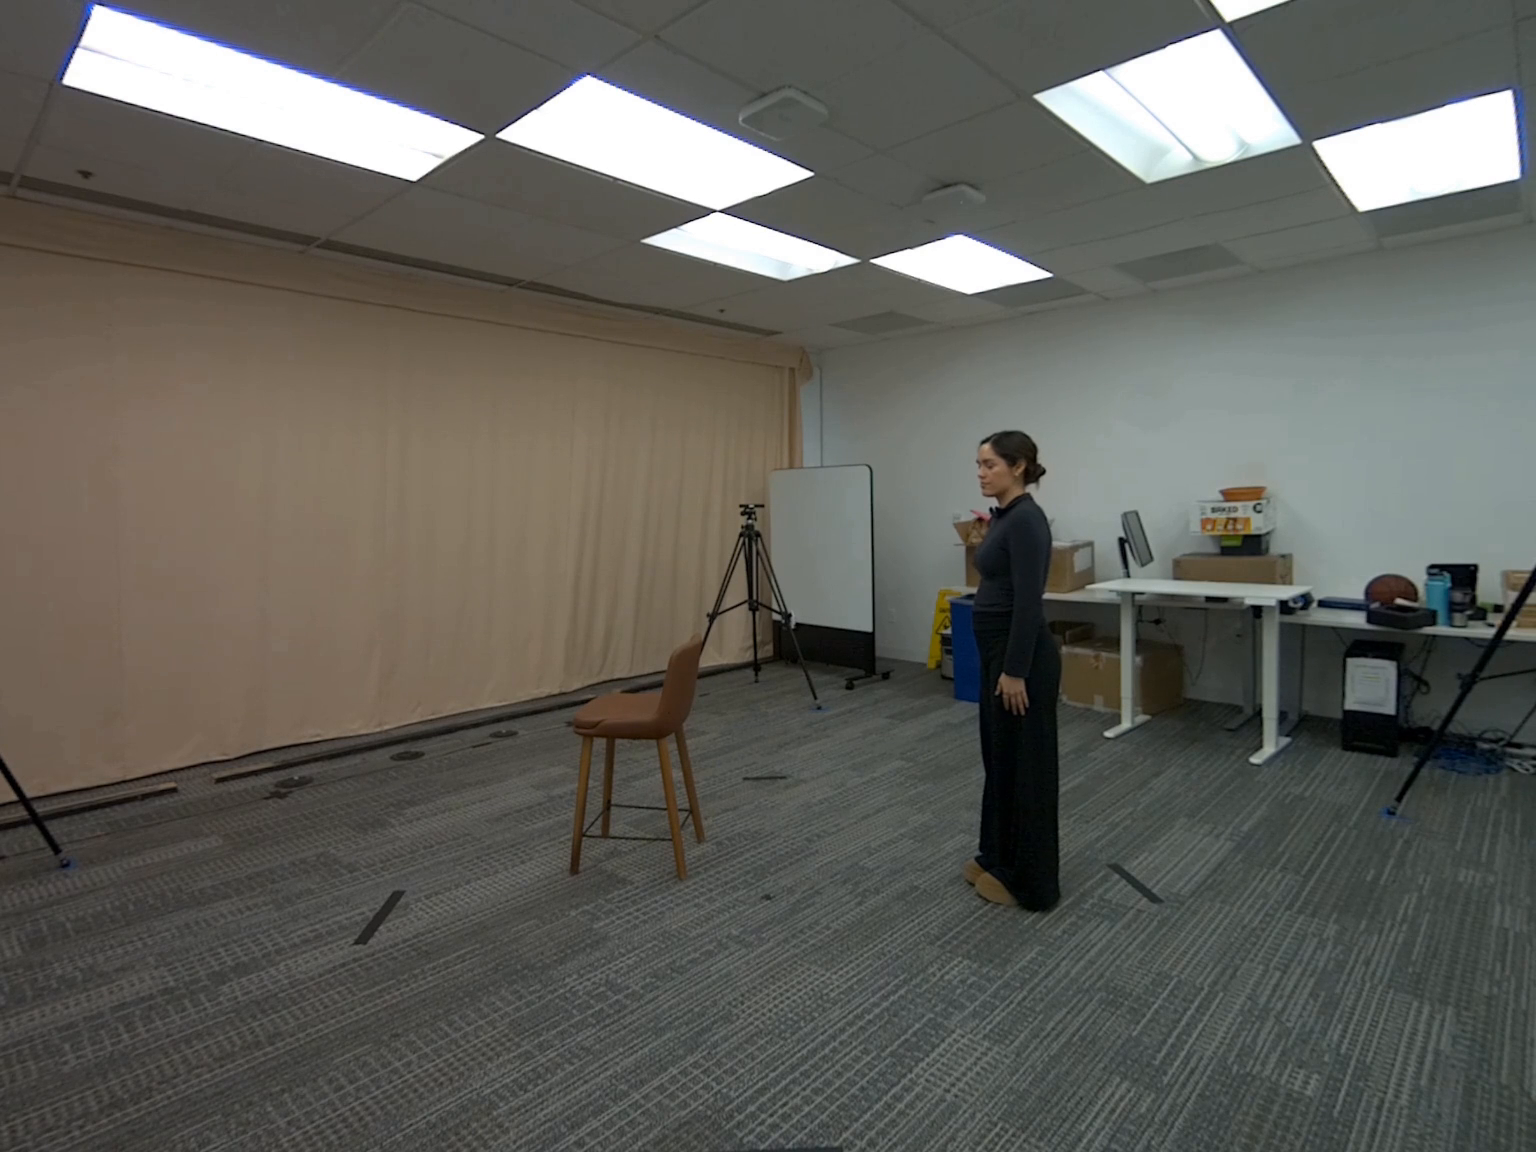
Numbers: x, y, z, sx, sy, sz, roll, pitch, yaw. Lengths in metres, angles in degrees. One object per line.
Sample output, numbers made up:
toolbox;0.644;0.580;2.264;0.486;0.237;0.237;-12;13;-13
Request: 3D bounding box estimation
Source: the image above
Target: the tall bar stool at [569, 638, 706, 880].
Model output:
tall bar stool;-0.509;0.686;3.337;0.473;0.888;0.452;1;3;10
